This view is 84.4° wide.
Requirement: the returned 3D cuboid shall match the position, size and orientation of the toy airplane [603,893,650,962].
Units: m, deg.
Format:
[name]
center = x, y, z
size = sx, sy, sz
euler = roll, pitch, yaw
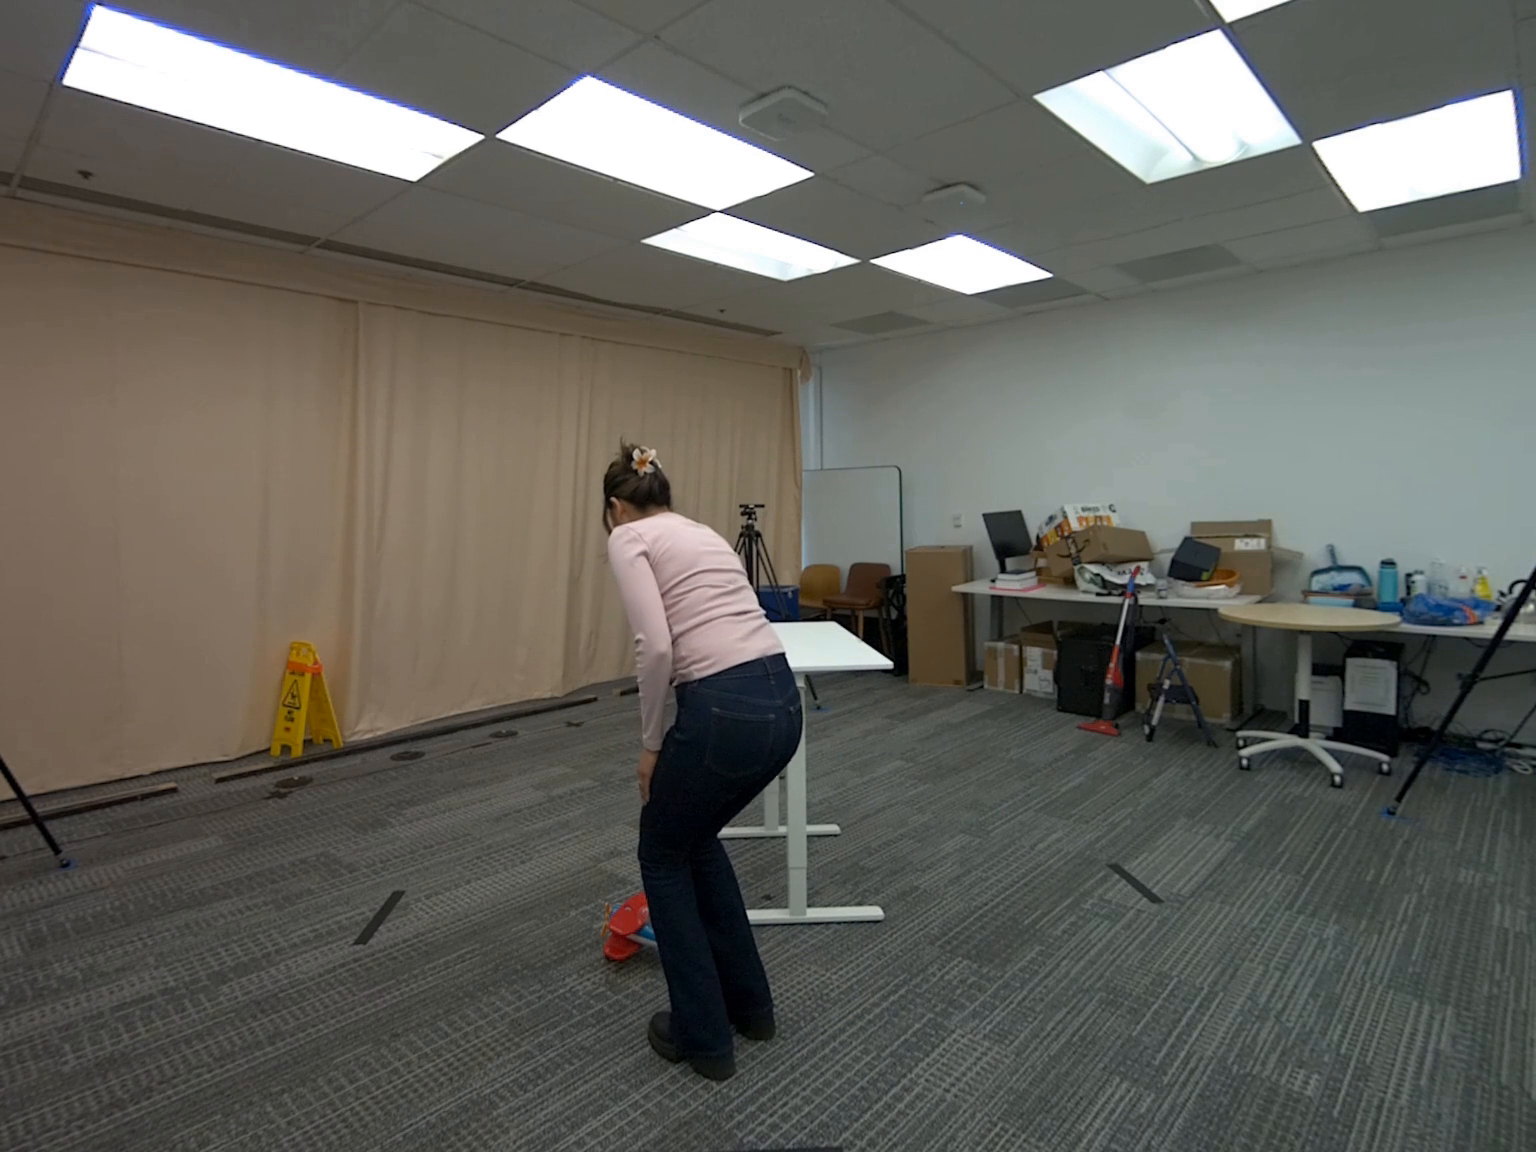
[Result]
[toy airplane]
center = -0.380, 1.104, 2.613
size = 0.257, 0.156, 0.254
euler = -3, 3, -10
